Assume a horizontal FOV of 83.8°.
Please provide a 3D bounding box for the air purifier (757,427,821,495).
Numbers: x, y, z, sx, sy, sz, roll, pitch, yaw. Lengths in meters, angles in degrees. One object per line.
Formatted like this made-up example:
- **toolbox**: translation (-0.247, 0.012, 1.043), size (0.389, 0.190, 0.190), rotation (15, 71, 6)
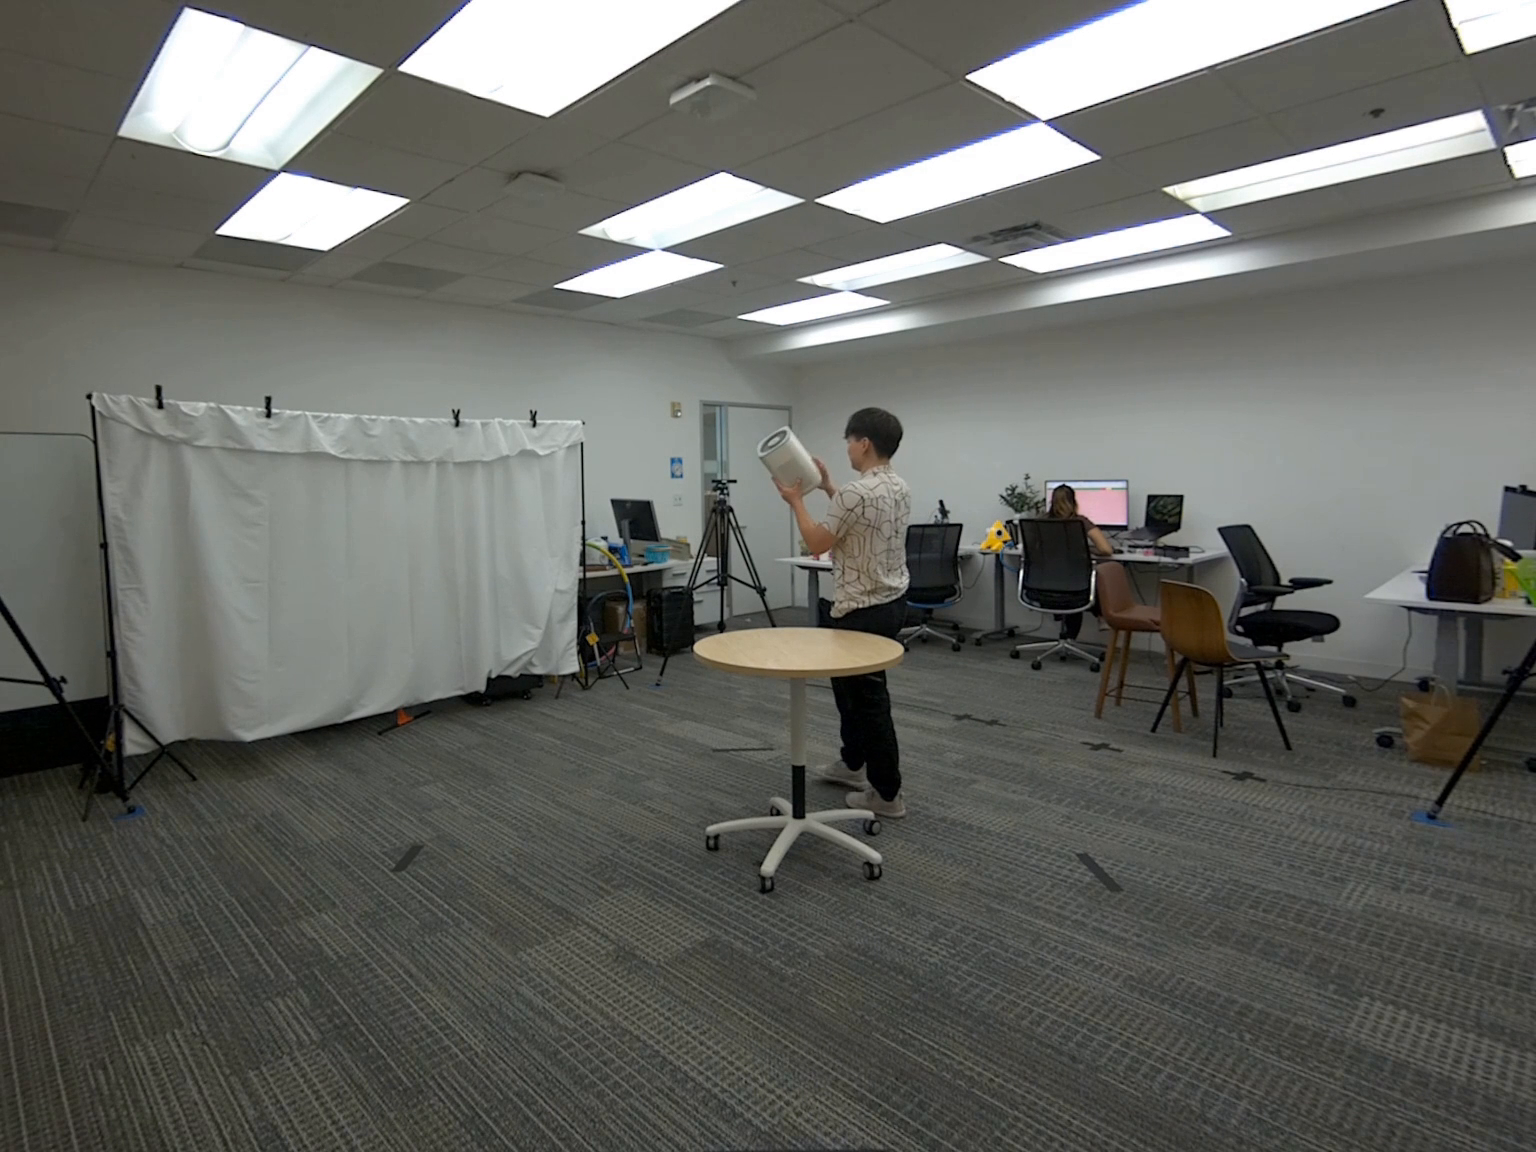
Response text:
- **air purifier**: translation (0.100, -0.485, 3.688), size (0.172, 0.258, 0.175), rotation (-33, 25, 14)
